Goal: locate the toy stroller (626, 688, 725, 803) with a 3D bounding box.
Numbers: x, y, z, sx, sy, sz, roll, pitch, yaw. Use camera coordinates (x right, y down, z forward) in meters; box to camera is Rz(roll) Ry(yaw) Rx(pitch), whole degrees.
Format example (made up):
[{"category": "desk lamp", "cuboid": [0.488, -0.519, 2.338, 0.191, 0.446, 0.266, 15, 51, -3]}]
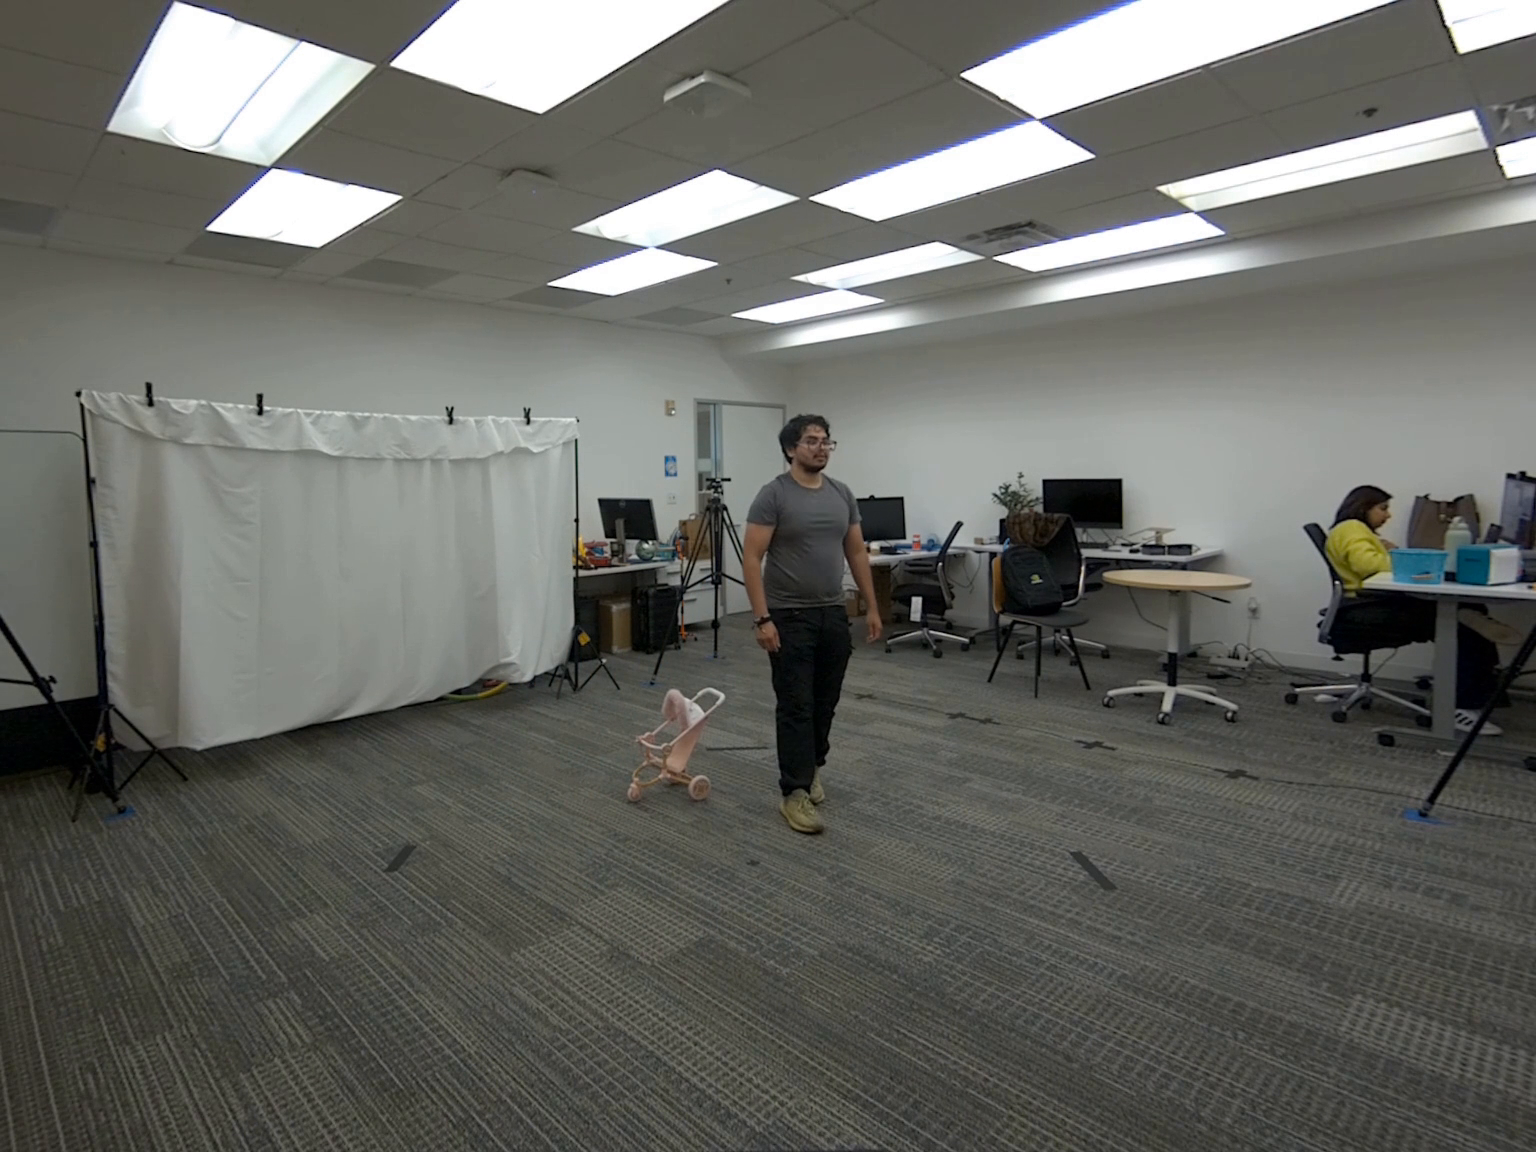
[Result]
[{"category": "toy stroller", "cuboid": [-0.422, 0.746, 3.802, 0.332, 0.536, 0.288, 14, -3, -26]}]
